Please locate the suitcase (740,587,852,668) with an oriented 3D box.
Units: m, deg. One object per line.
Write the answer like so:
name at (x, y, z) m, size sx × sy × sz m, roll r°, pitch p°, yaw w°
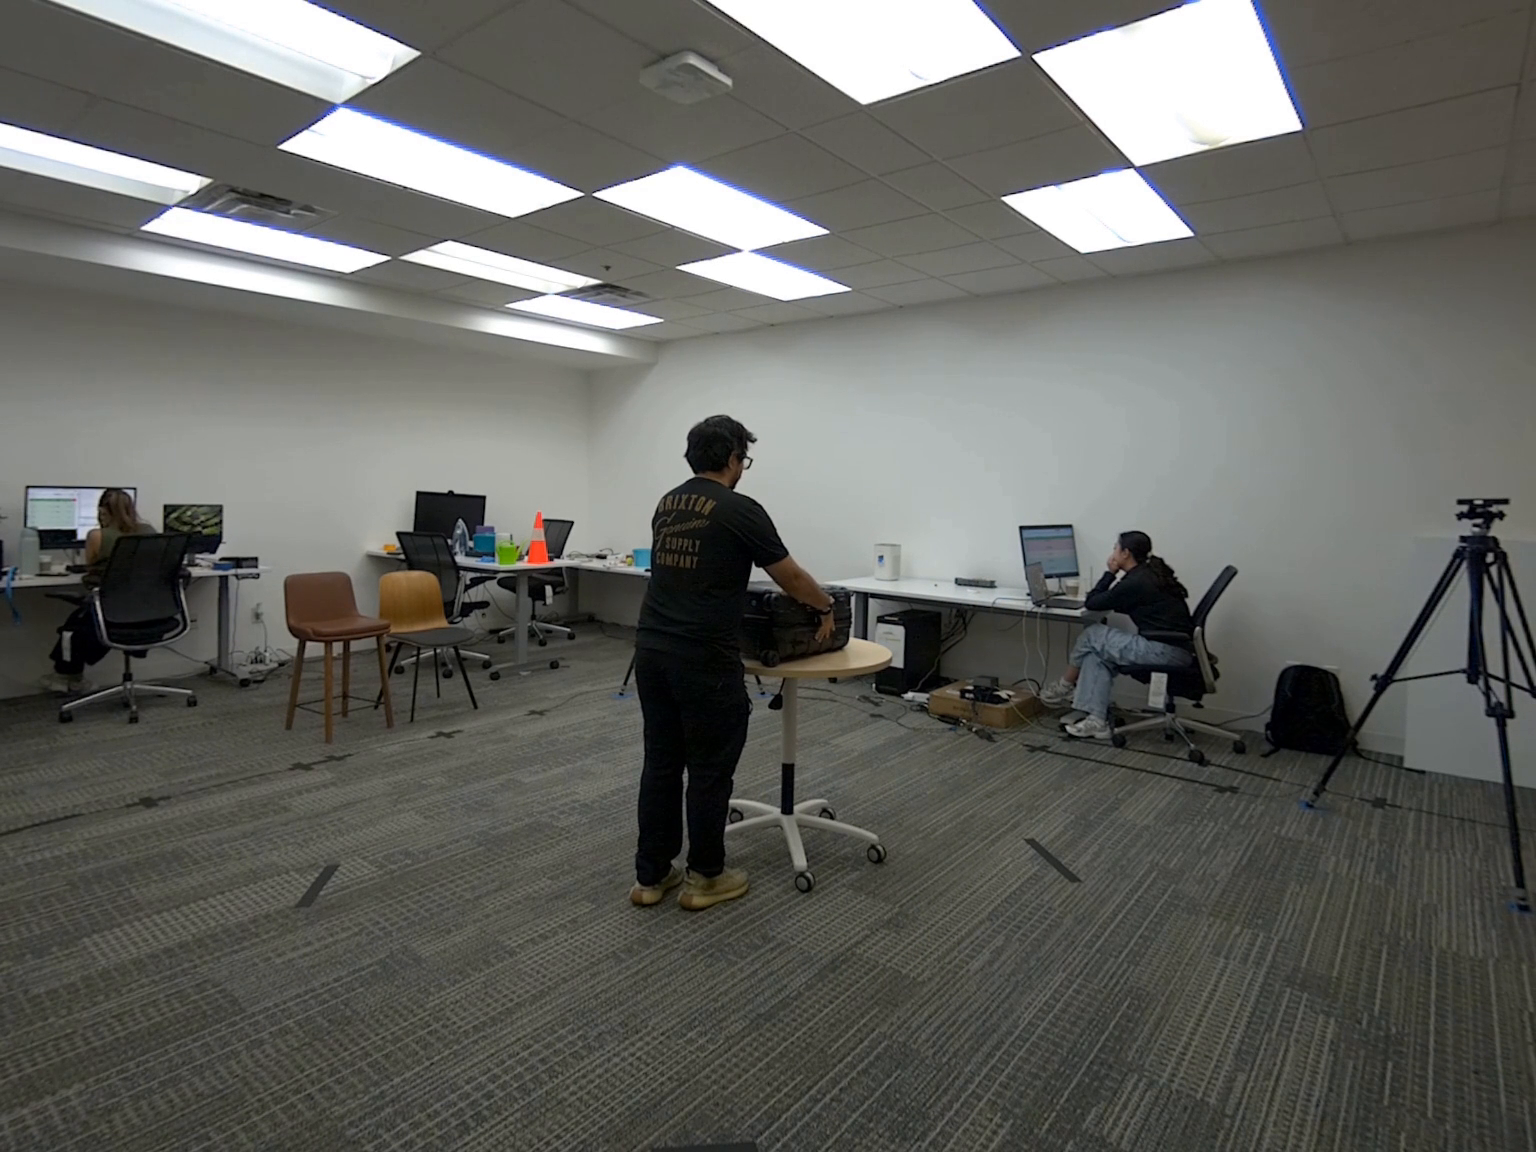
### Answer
suitcase at (0.049, 0.158, 3.225) m, size 0.388 × 0.248 × 0.532 m, roll 4°, pitch 4°, yaw 39°
